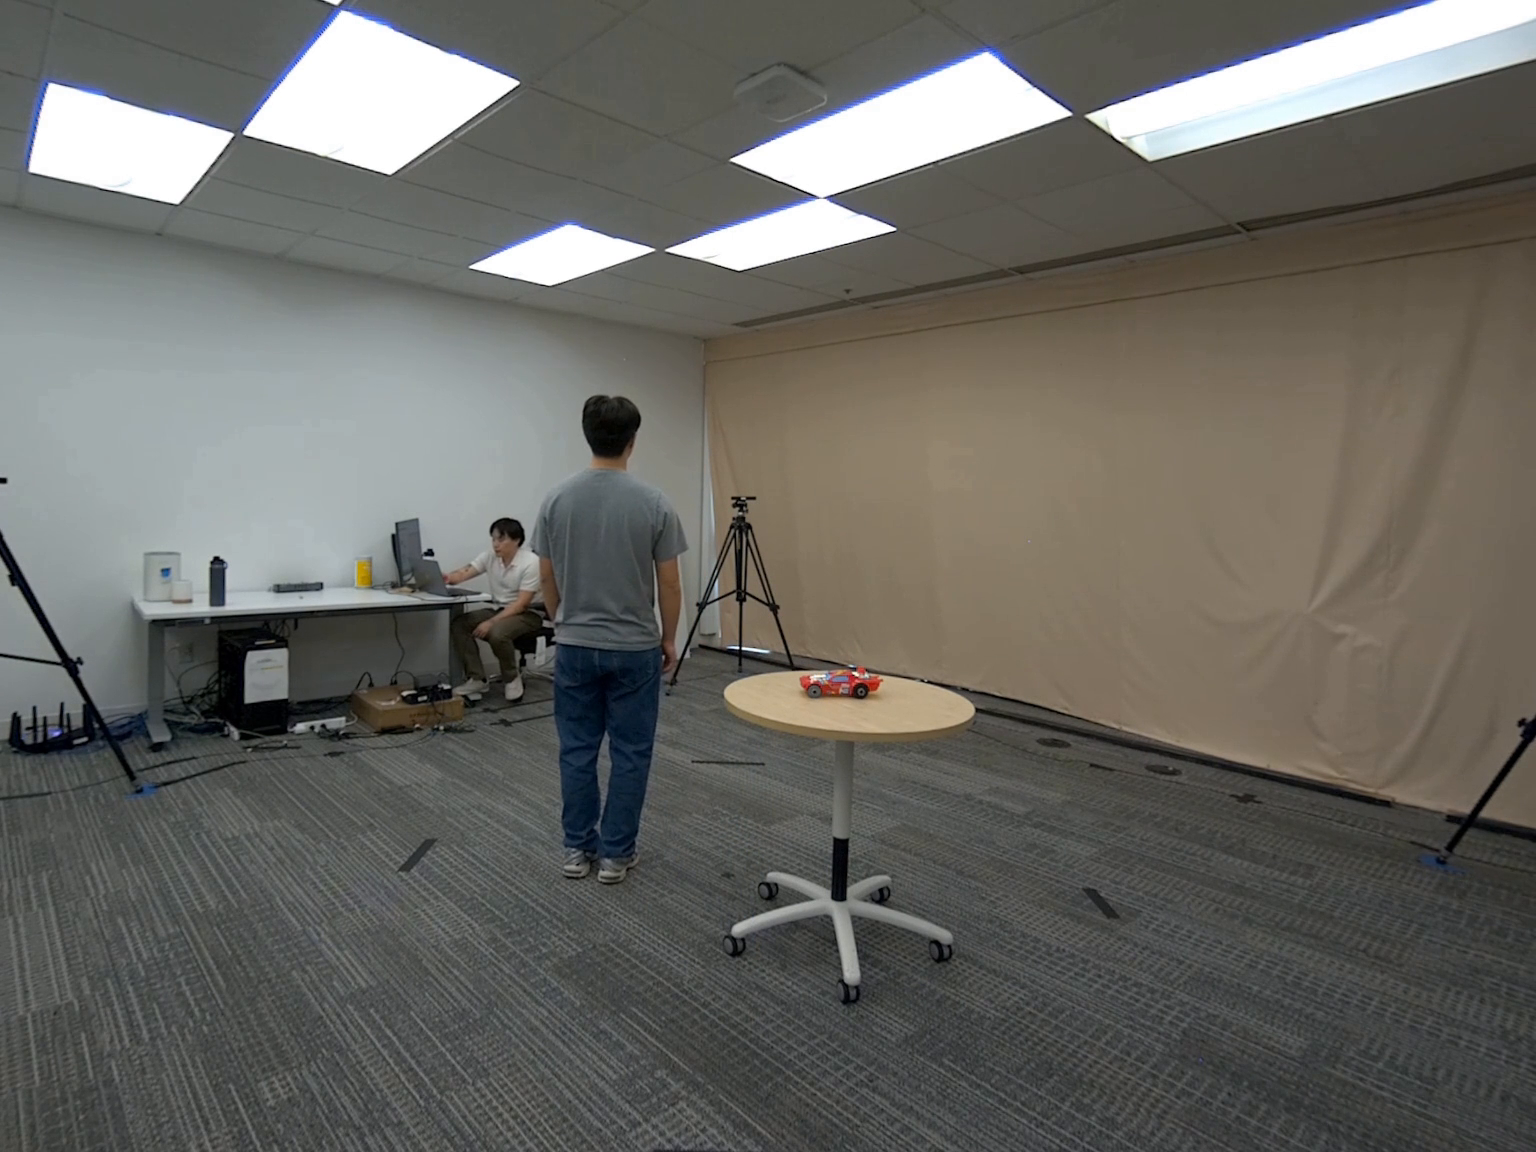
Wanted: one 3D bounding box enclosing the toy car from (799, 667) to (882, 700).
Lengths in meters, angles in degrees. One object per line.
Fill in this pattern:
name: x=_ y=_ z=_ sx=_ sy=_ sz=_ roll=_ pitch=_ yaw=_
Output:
toy car: x=0.227 y=0.344 z=2.632 sx=0.254 sy=0.083 sz=0.131 roll=-9 pitch=5 yaw=-2
